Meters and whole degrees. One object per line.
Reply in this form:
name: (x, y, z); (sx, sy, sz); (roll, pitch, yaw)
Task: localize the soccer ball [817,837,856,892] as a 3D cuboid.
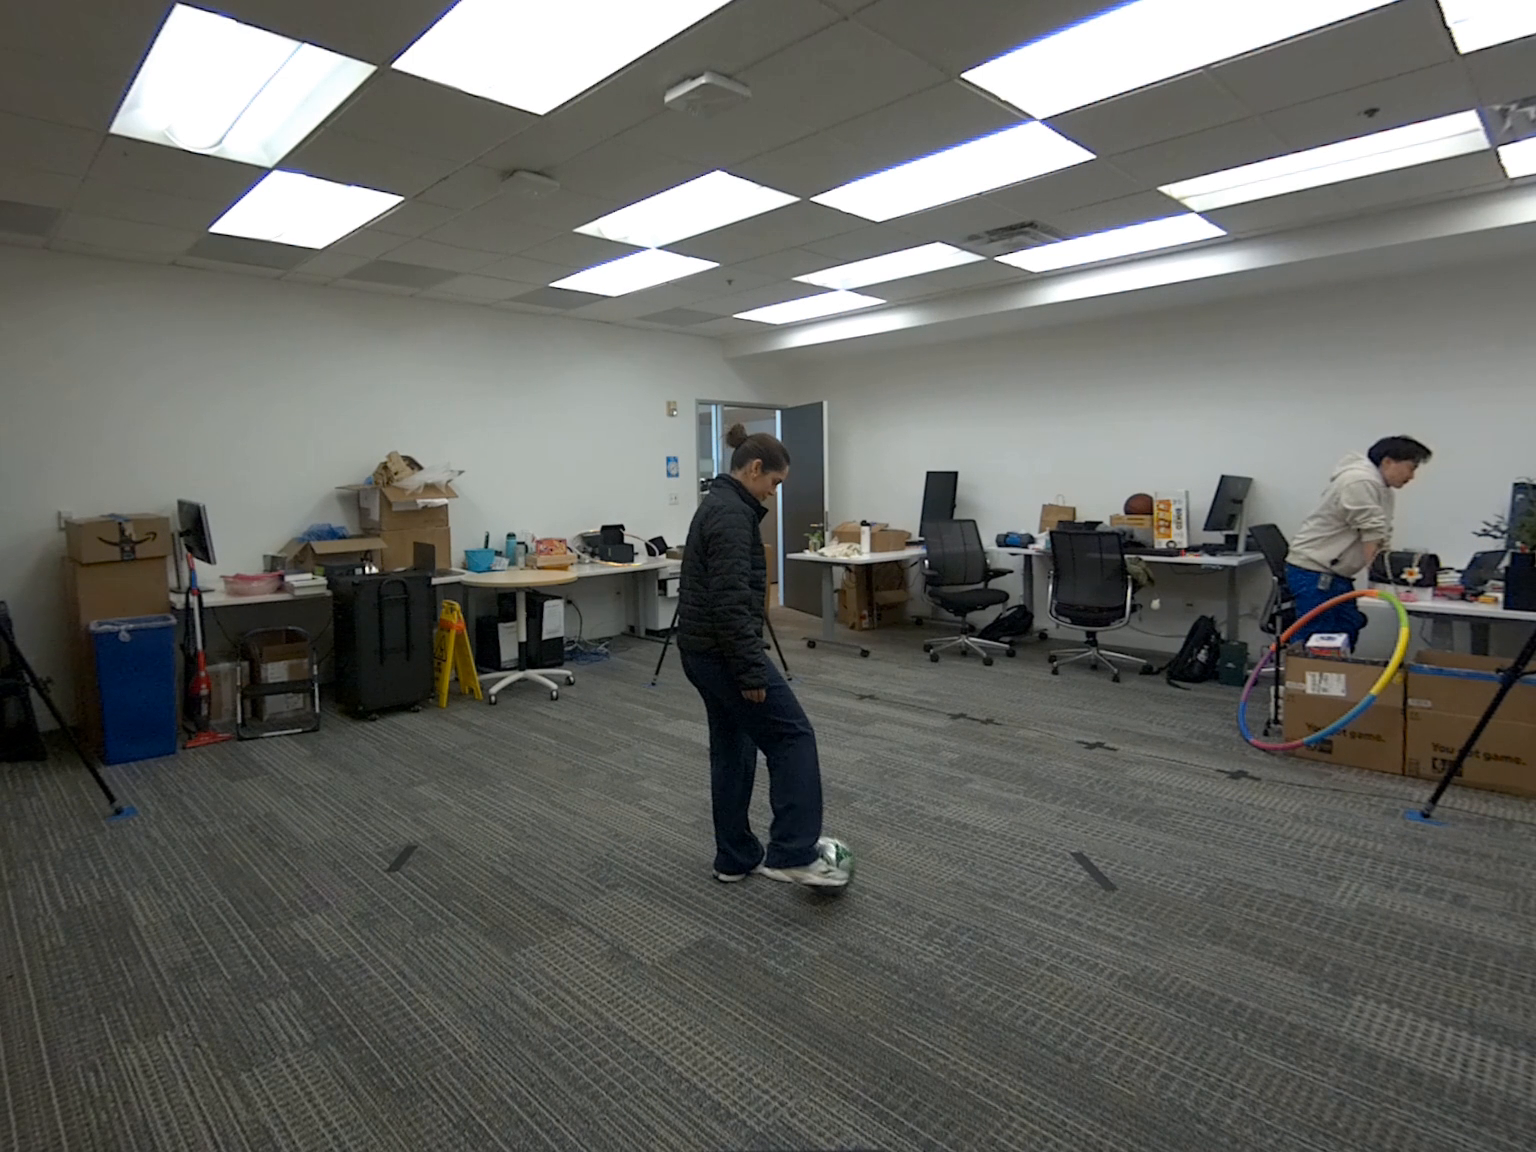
soccer ball: (0.206, 0.972, 2.877); (0.187, 0.187, 0.188); (-1, 5, -2)
